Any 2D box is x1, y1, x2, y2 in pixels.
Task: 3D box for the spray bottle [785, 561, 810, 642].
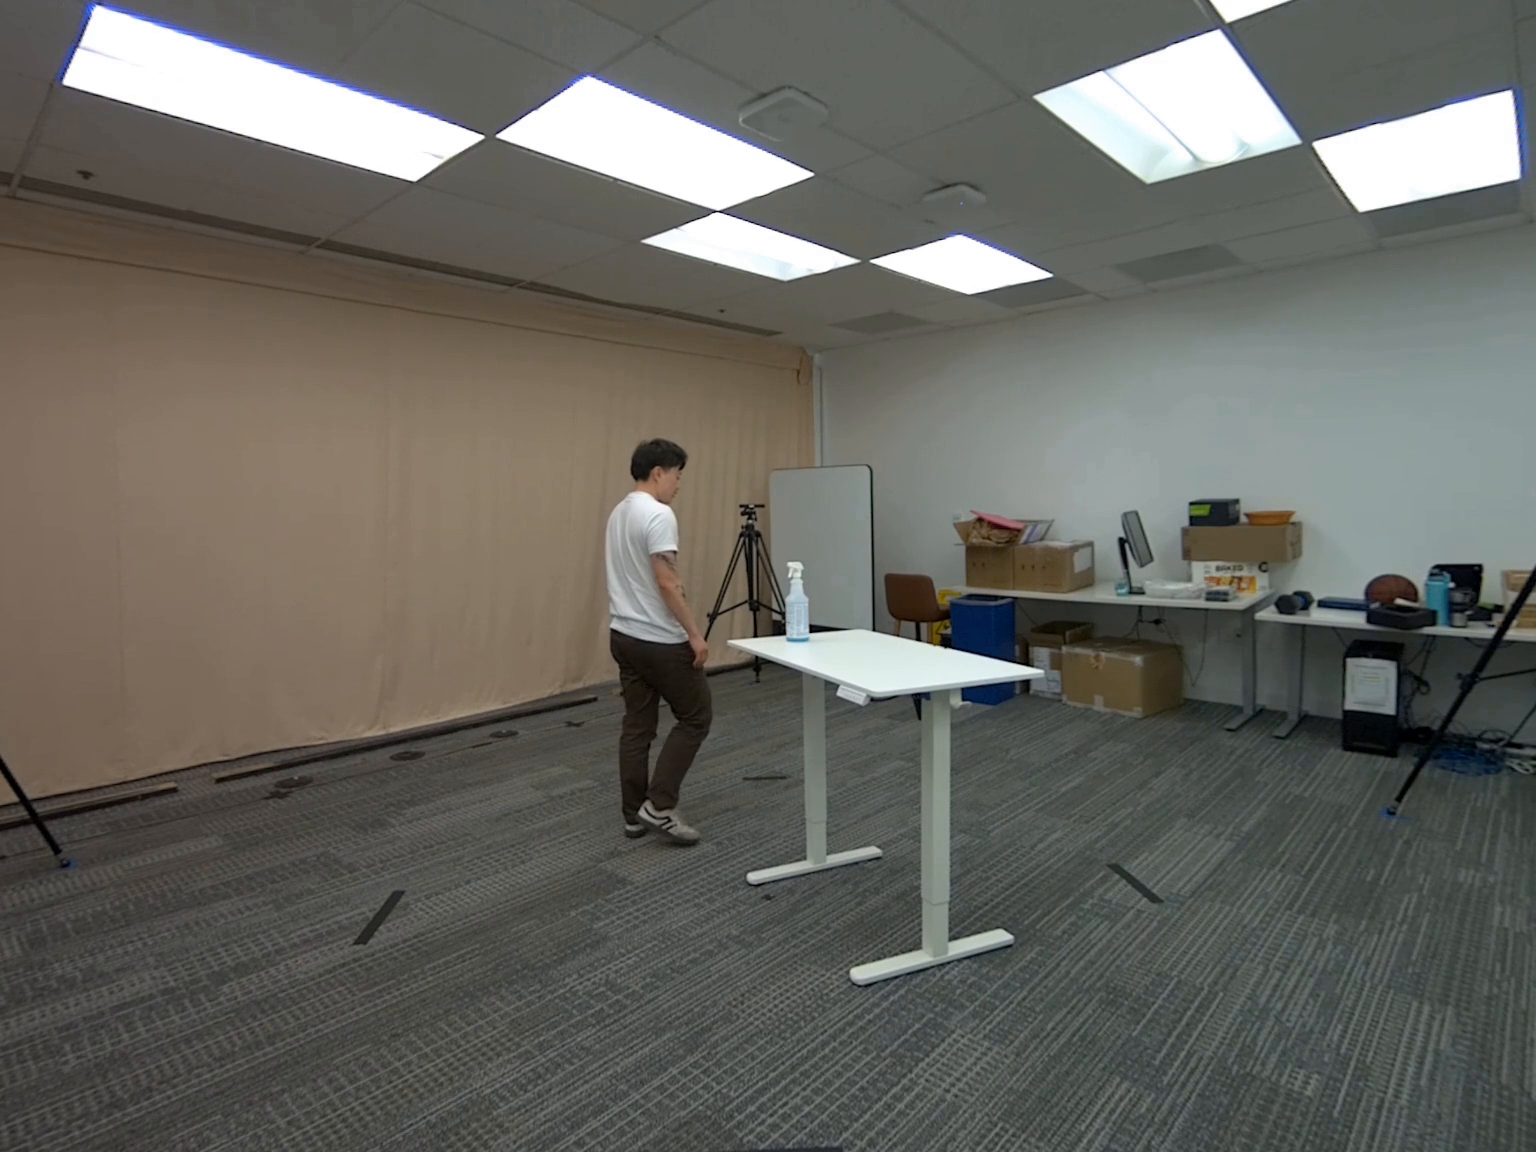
[{"bbox_3d":[0.108,0.098,3.145,0.088,0.296,0.089,-2,6,-27],"label":"spray bottle"}]
